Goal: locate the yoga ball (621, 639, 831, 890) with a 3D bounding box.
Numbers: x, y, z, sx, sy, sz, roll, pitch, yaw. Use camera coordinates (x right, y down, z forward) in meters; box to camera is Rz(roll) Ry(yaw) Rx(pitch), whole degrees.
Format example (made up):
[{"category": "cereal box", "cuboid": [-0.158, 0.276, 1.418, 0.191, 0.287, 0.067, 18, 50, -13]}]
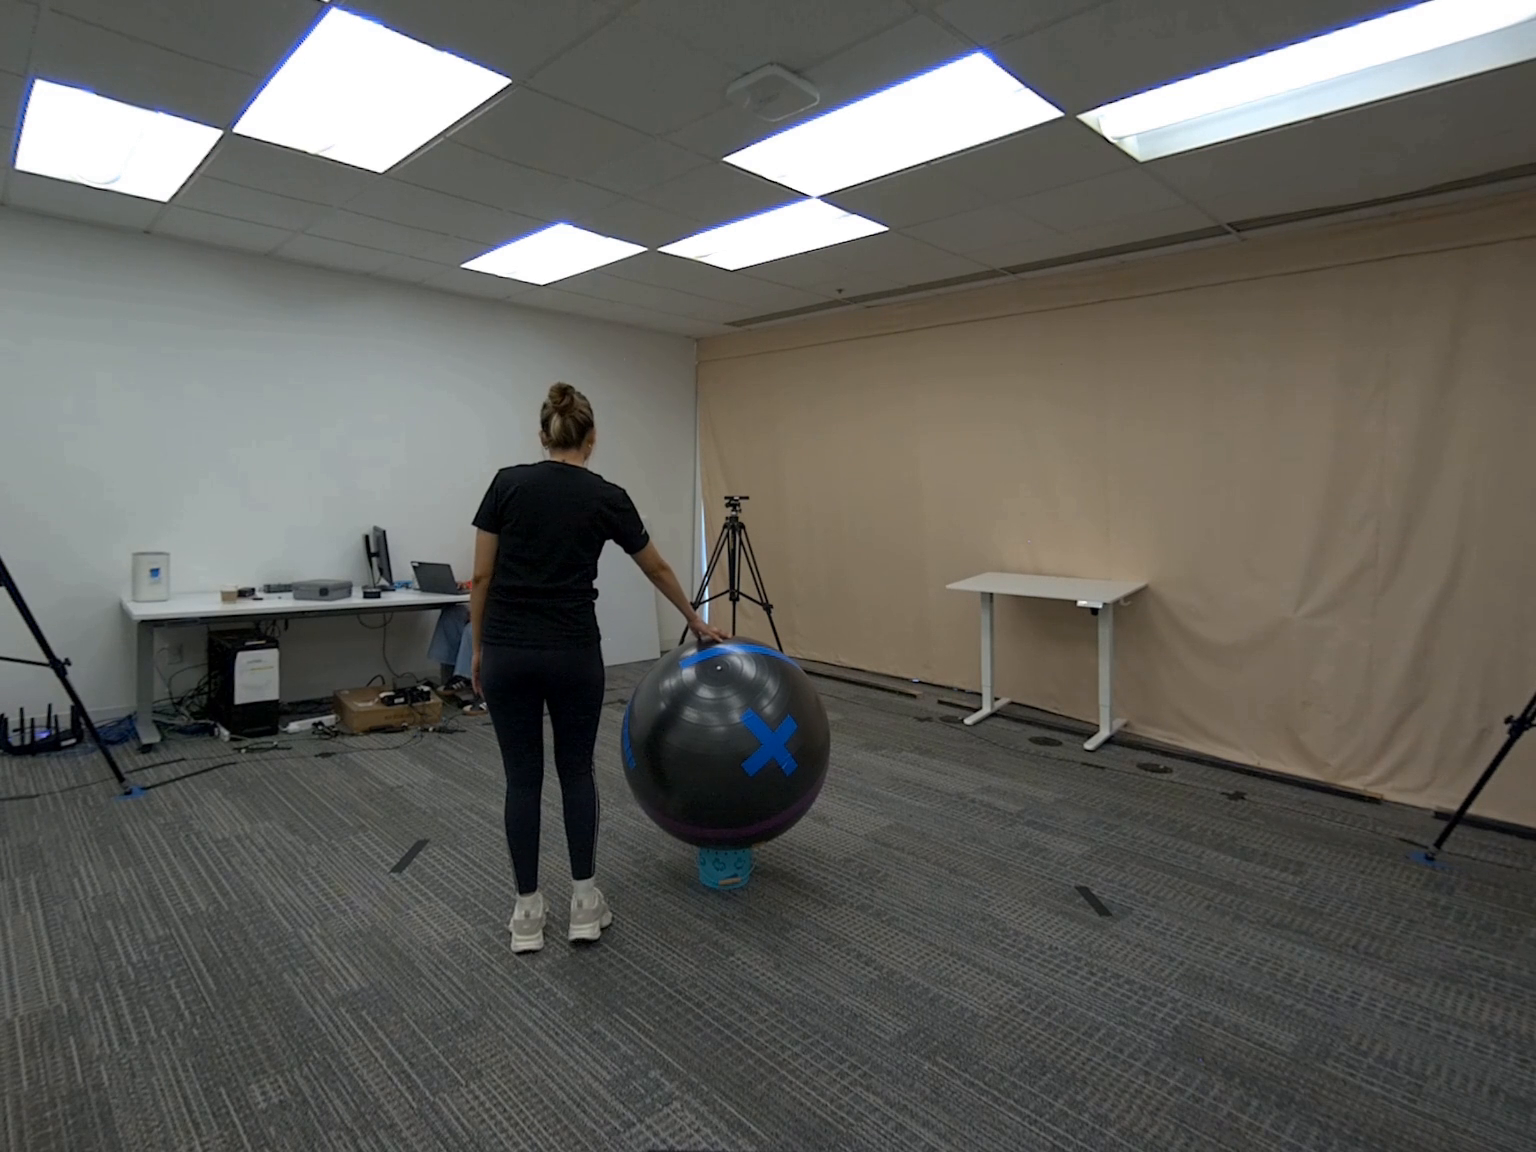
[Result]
[{"category": "yoga ball", "cuboid": [-0.158, 0.603, 3.047, 0.757, 0.756, 0.761, 1, 4, -1]}]
